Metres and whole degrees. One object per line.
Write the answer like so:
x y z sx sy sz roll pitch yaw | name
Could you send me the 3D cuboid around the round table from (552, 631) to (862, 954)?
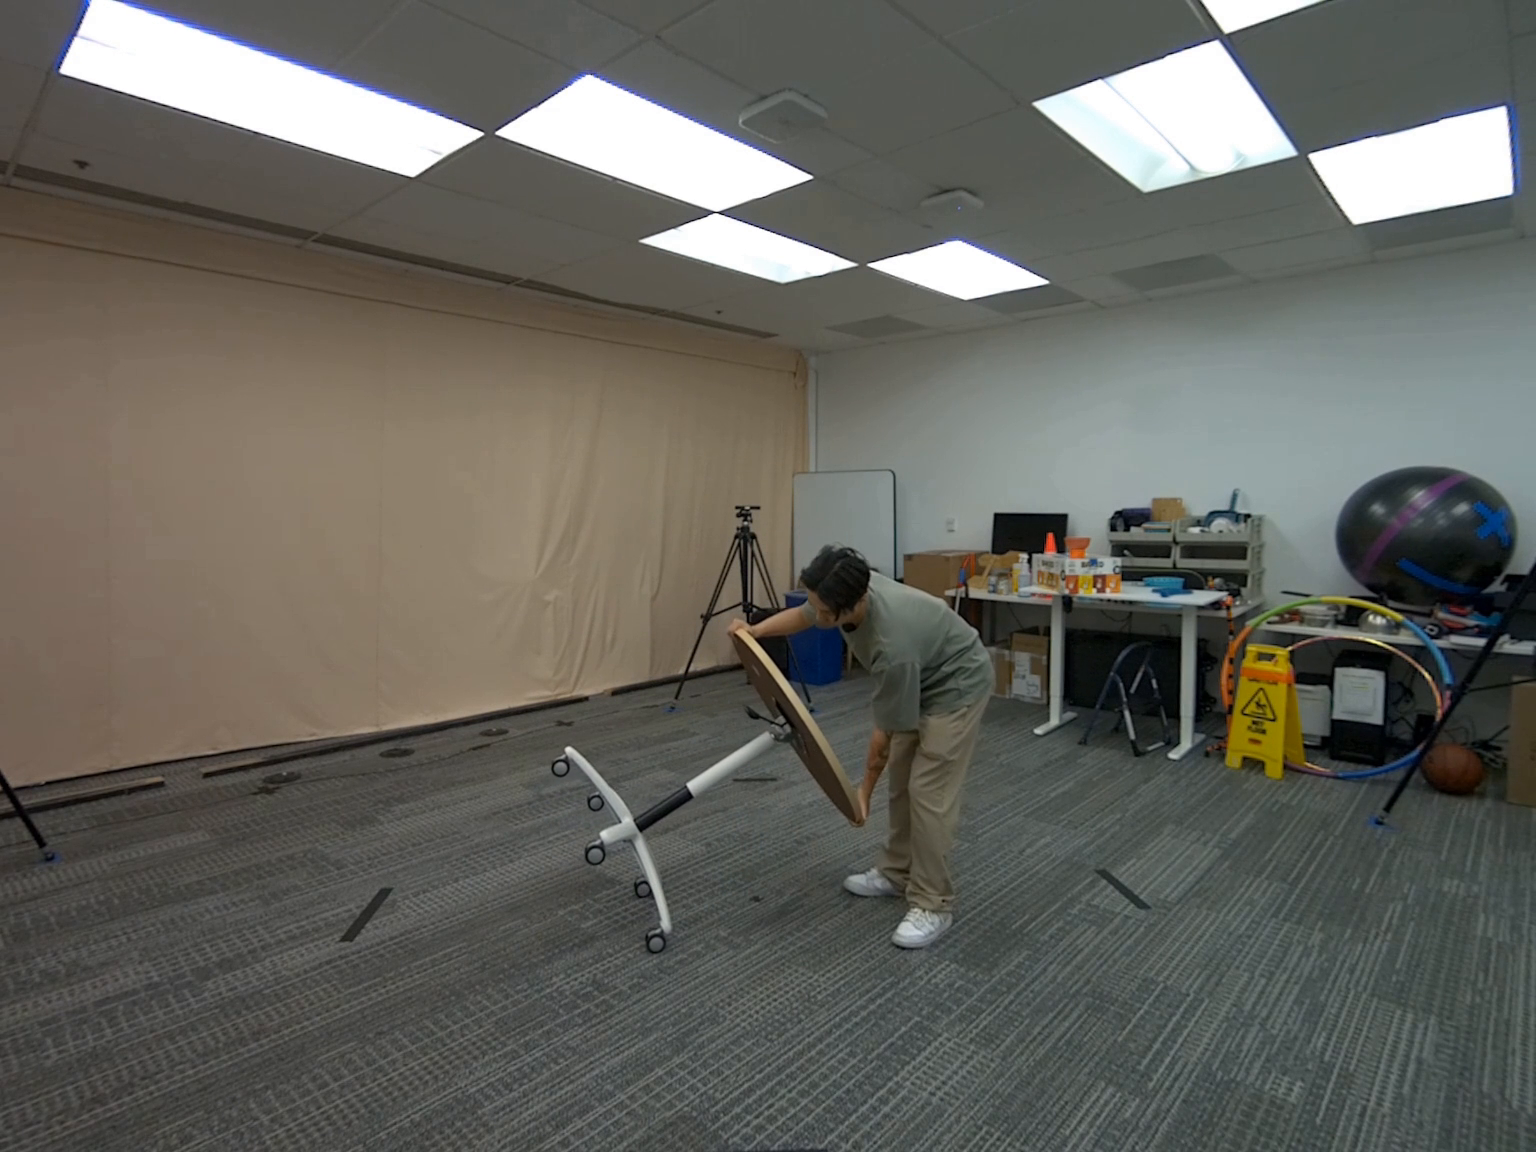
-0.229 0.705 2.867 0.782 0.777 0.798 -32 10 -10 | round table
